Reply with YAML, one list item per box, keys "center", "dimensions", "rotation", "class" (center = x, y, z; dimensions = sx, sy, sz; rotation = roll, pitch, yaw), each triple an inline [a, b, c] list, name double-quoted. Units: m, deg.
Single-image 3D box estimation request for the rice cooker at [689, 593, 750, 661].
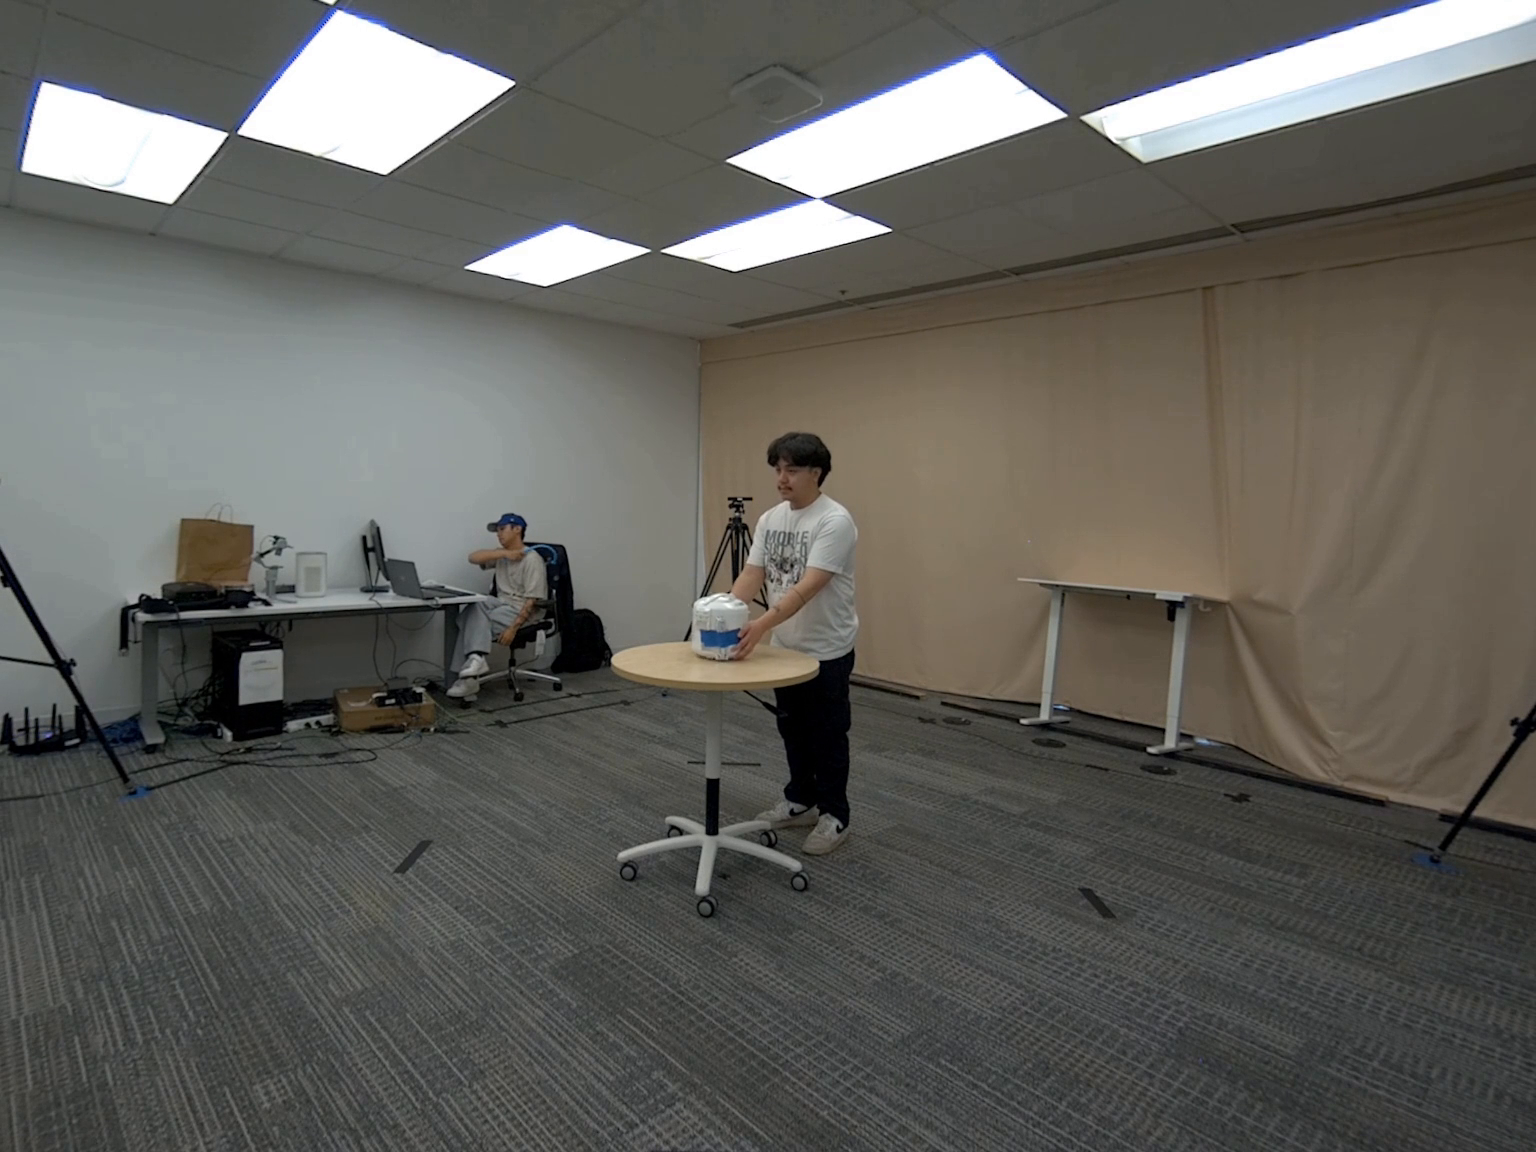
- center: [-0.199, 0.178, 3.140]
  dimensions: [0.223, 0.232, 0.216]
  rotation: [8, 7, 37]
  class: "rice cooker"
